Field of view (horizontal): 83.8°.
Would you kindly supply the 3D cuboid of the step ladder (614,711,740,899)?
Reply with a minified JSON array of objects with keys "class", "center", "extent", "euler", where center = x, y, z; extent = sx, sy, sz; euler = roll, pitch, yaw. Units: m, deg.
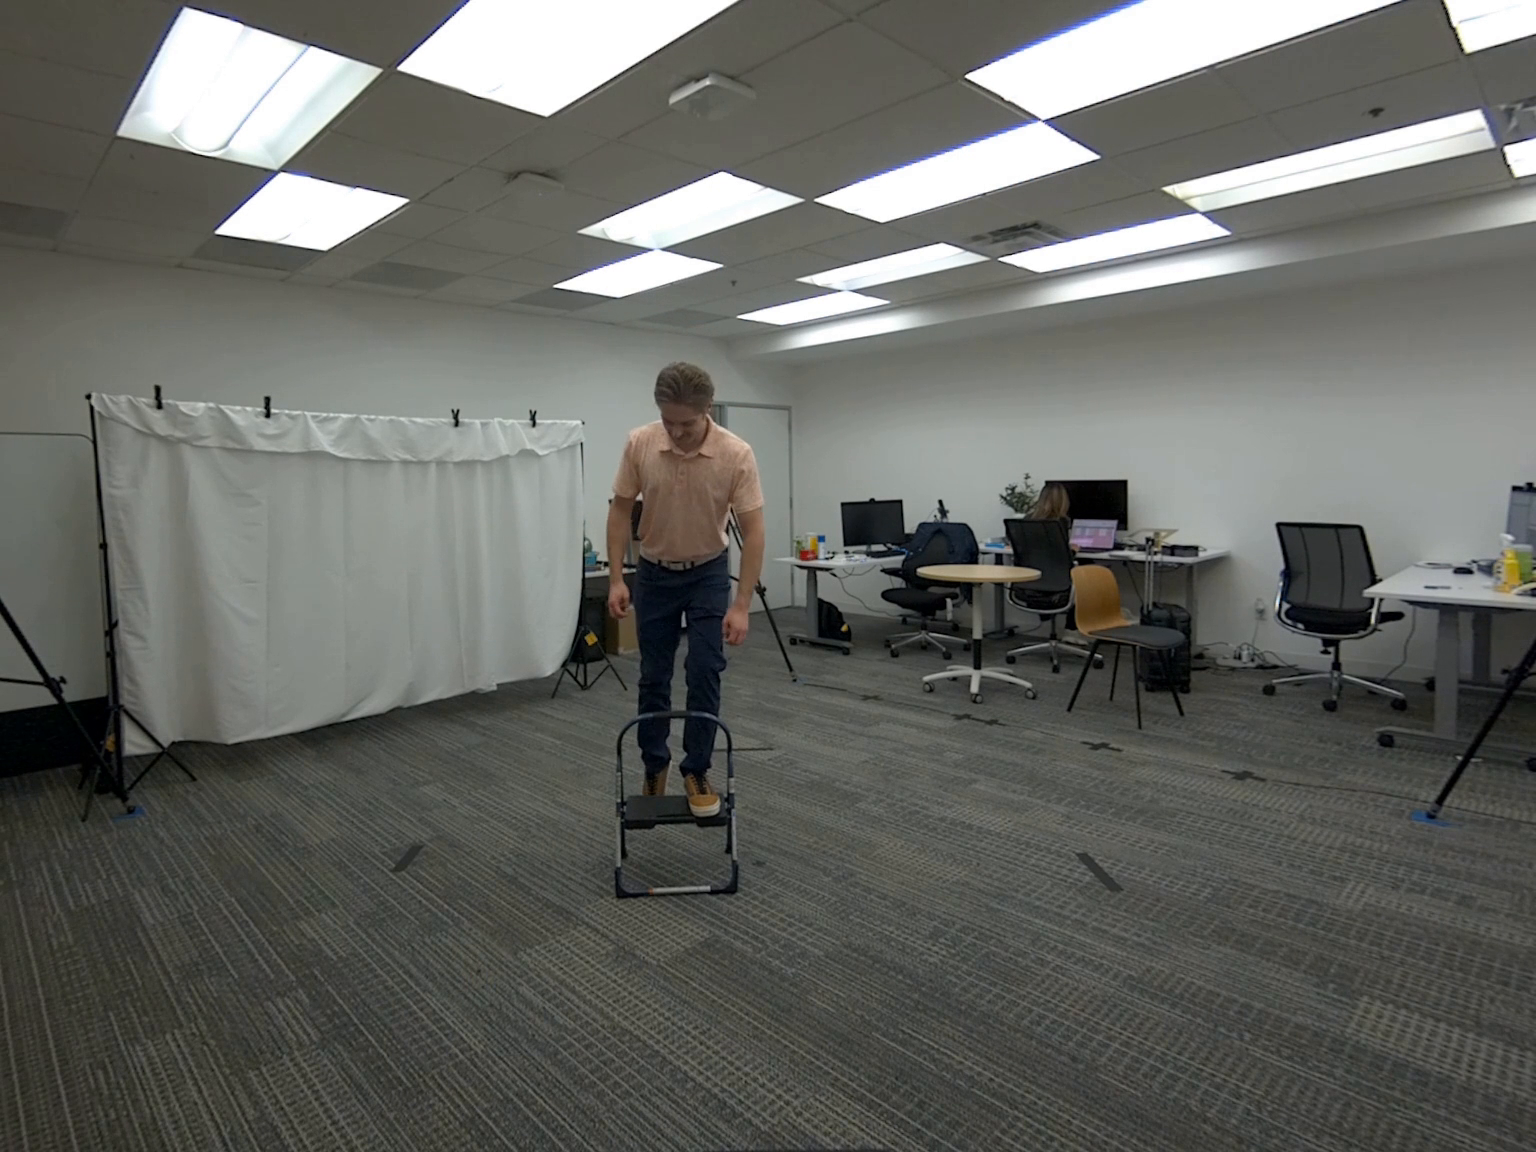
[{"class":"step ladder","center":[-0.328,0.766,3.024],"extent":[0.429,0.604,0.352],"euler":[-2,4,-5]}]
